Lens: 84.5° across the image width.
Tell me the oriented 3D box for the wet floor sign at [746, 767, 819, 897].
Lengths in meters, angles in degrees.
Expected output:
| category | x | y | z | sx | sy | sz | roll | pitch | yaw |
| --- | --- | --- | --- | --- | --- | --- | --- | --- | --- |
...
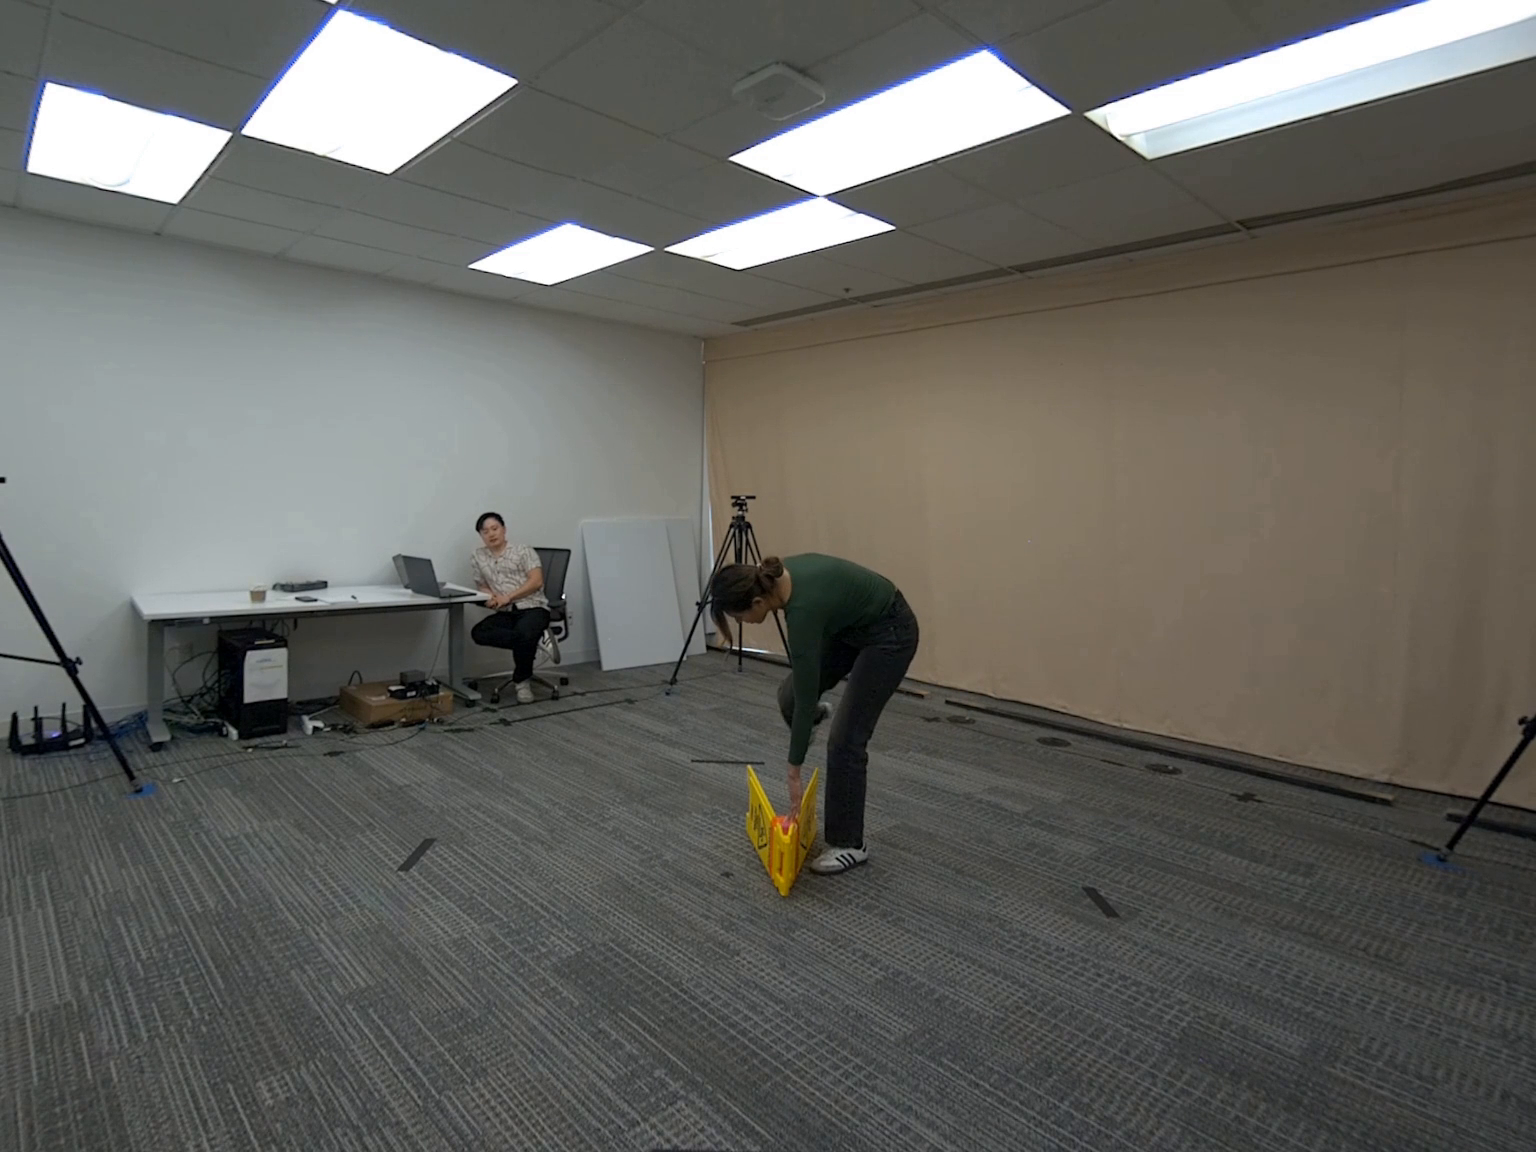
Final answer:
| category | x | y | z | sx | sy | sz | roll | pitch | yaw |
| --- | --- | --- | --- | --- | --- | --- | --- | --- | --- |
| wet floor sign | 0.053 | 0.964 | 3.194 | 0.290 | 0.281 | 0.648 | 1 | 7 | 0 |
